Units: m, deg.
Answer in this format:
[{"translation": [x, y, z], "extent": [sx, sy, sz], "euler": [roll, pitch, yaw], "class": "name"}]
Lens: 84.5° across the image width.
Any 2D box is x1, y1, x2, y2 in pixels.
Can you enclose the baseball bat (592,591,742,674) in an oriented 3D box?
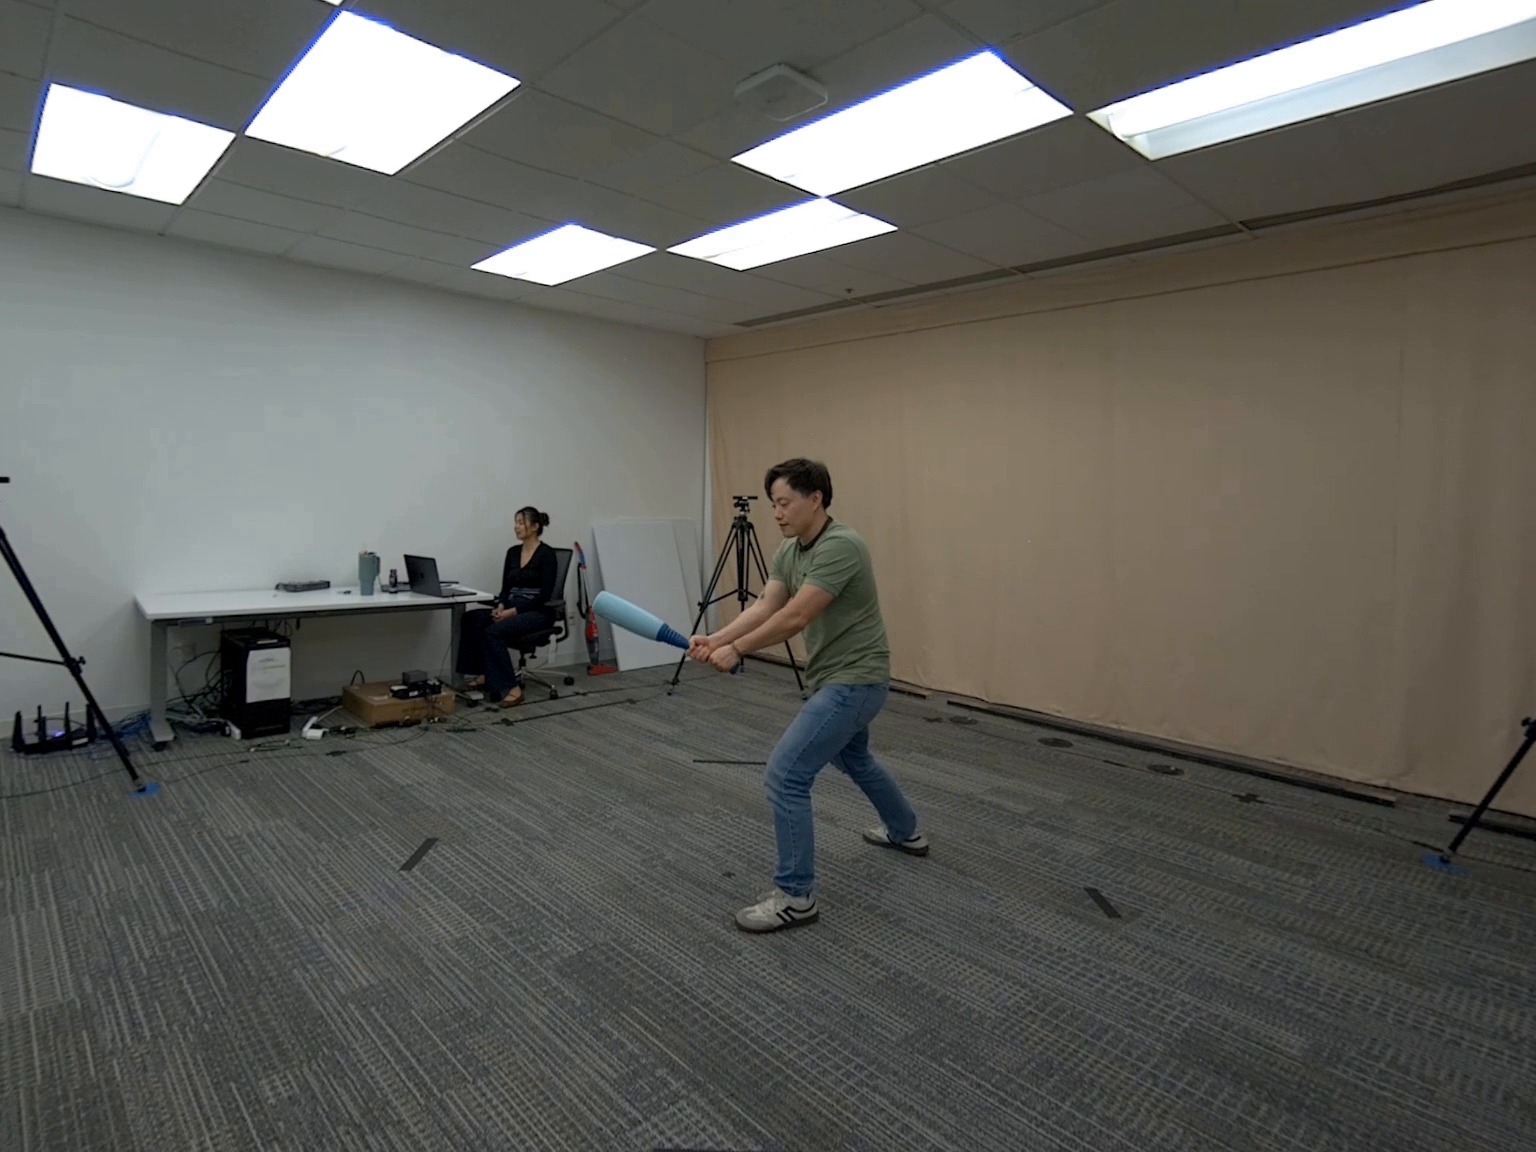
[{"translation": [-0.343, 0.200, 2.859], "extent": [0.548, 0.089, 0.088], "euler": [25, 7, 8], "class": "baseball bat"}]
